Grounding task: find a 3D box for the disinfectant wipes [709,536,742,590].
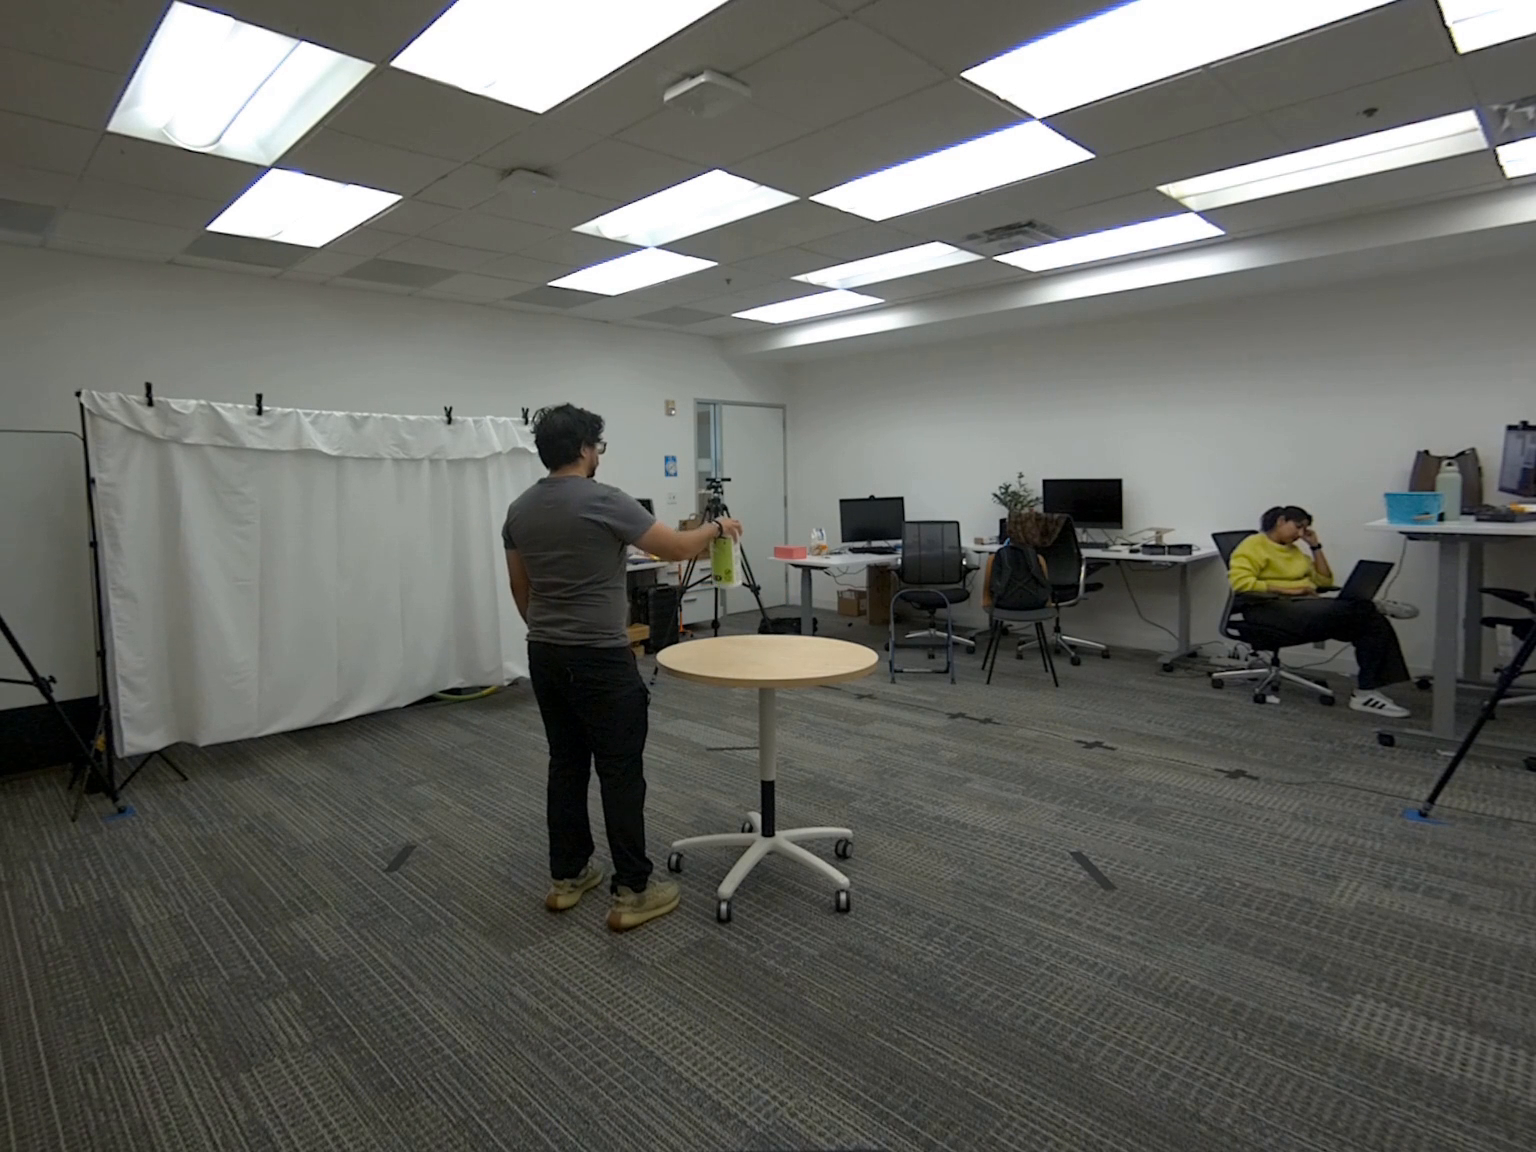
[{"bbox_3d":[-0.150,-0.072,3.102,0.118,0.215,0.119,-2,12,-1],"label":"disinfectant wipes"}]
